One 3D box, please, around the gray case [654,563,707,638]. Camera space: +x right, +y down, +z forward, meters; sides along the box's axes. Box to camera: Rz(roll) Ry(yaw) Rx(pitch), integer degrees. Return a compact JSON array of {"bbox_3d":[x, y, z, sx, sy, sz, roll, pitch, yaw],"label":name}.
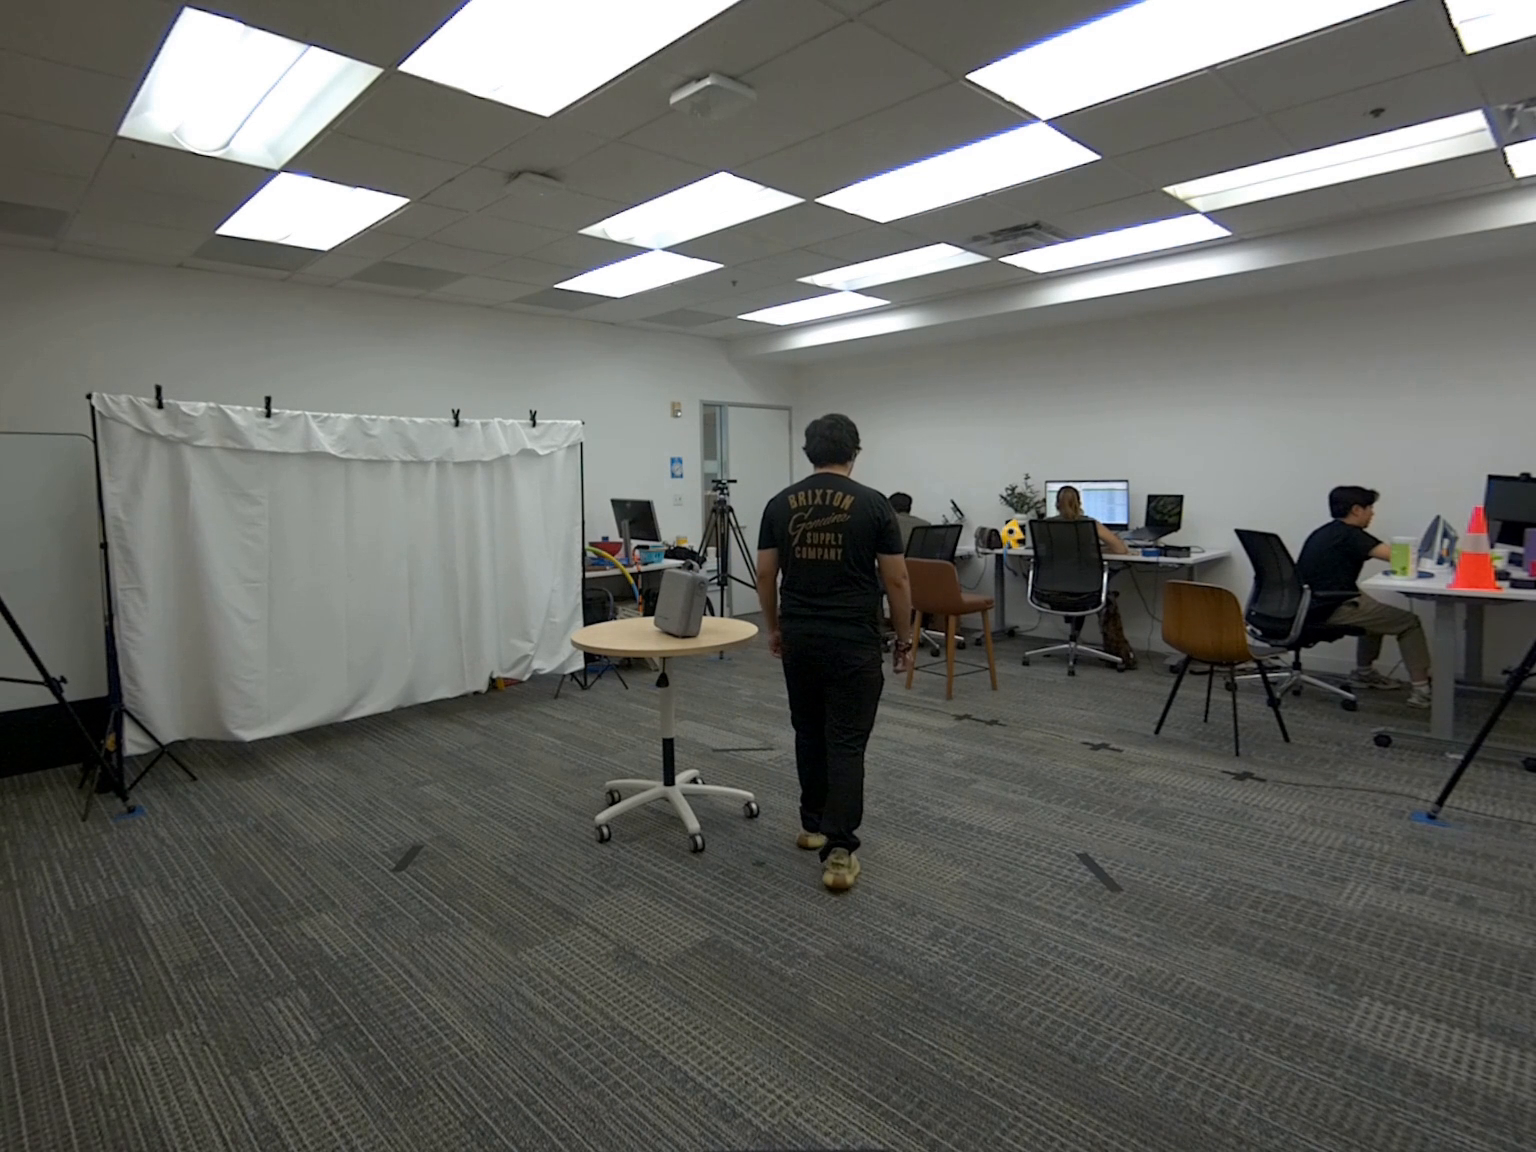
[{"bbox_3d":[-0.352,0.101,3.445,0.101,0.261,0.263,10,-1,-28],"label":"gray case"}]
